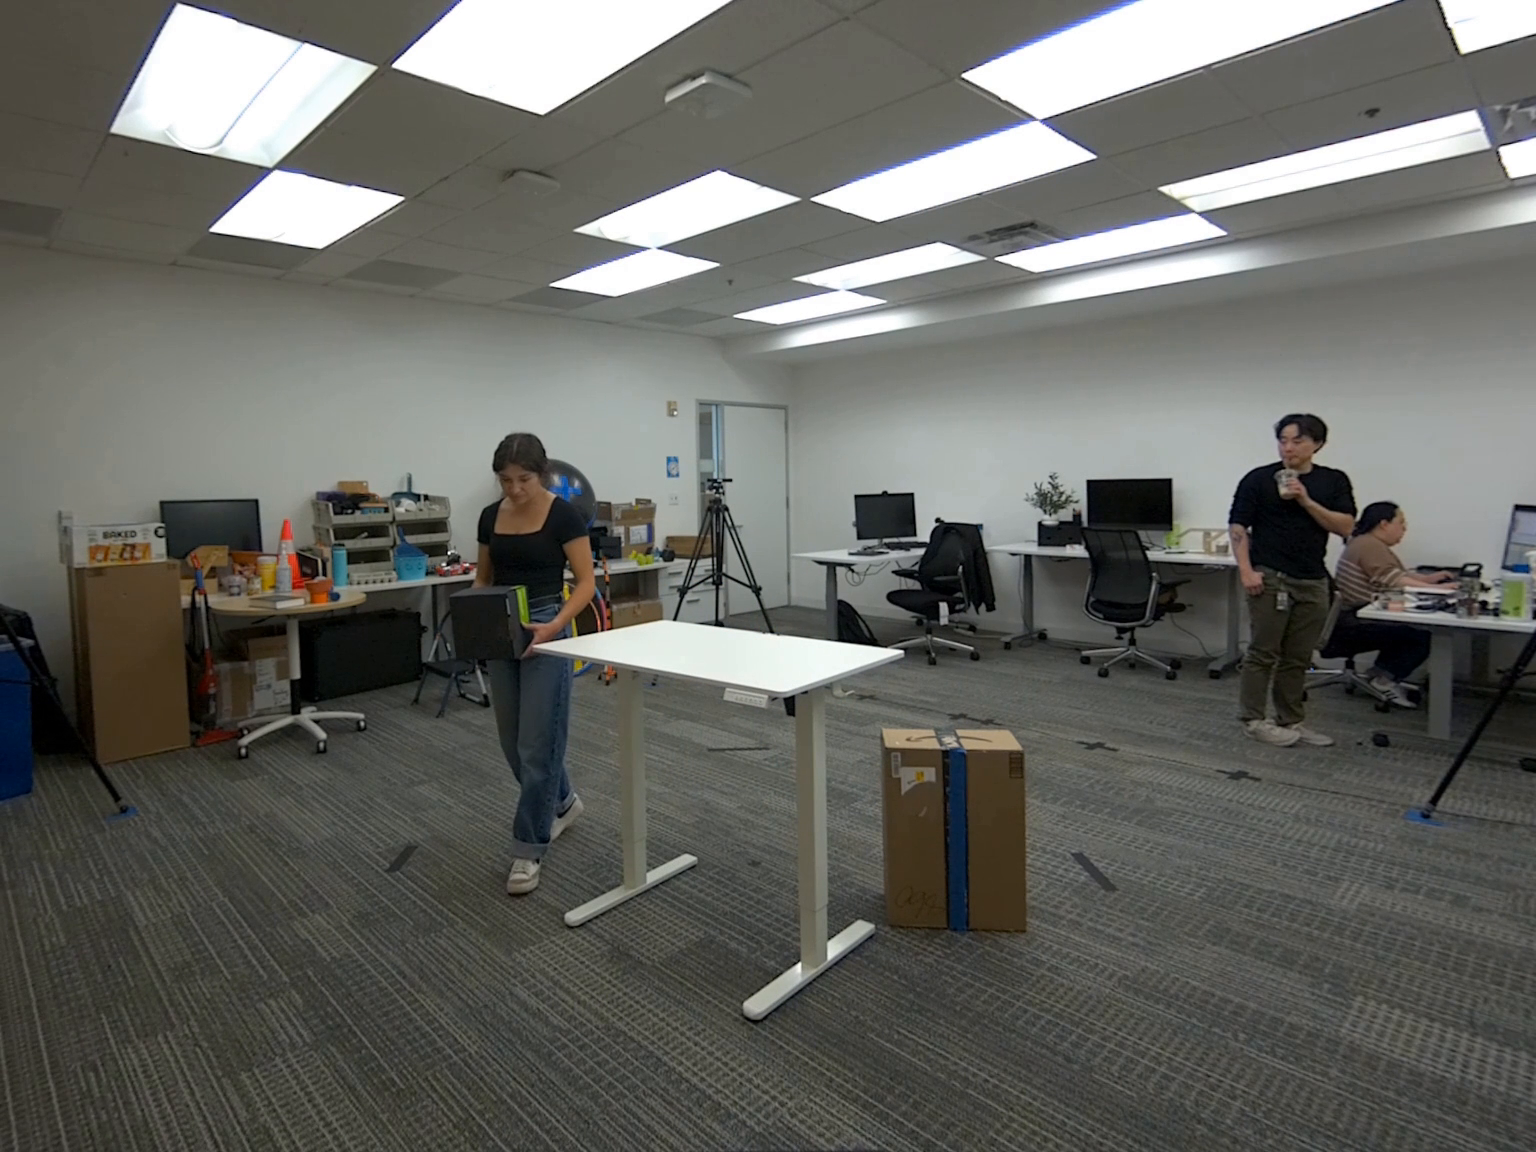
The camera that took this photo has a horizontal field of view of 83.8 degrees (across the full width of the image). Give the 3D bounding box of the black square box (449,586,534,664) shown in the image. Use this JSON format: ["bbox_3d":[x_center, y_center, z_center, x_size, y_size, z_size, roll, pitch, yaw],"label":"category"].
[{"bbox_3d":[-0.941,0.156,2.907,0.219,0.226,0.155,-3,7,12],"label":"black square box"}]
